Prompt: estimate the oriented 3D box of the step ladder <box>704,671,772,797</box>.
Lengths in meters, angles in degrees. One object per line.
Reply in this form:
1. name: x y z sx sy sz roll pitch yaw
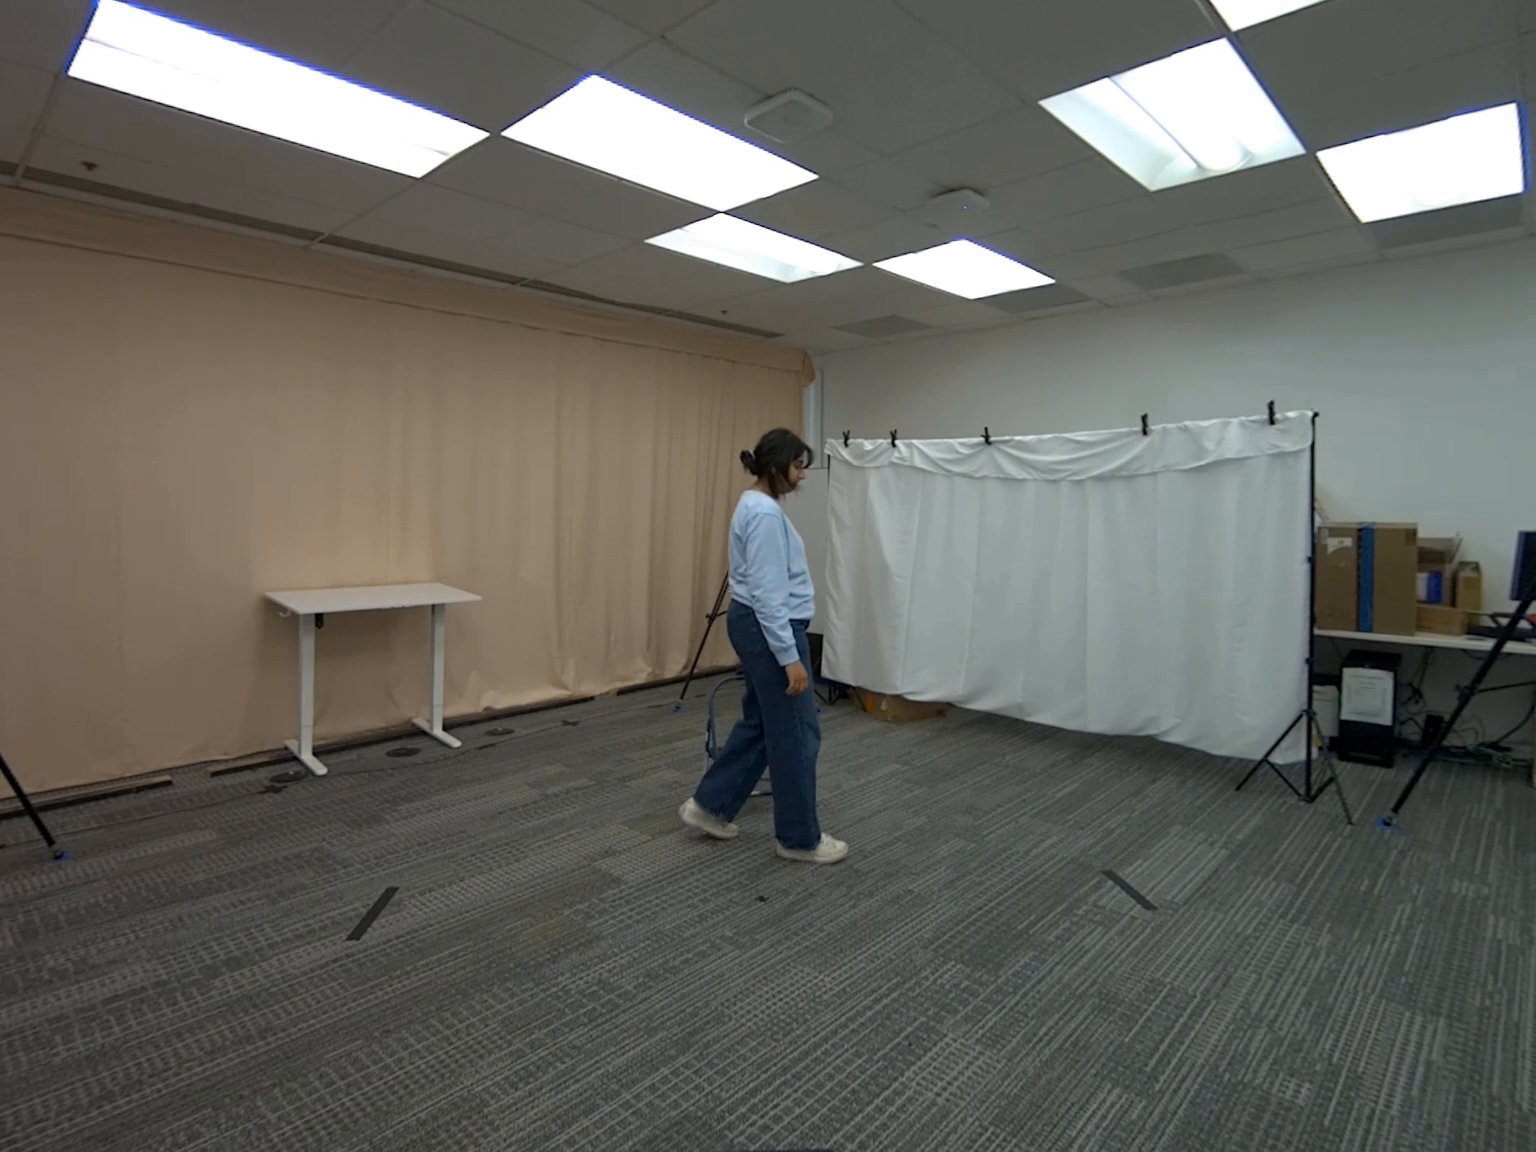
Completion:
1. step ladder: -0.064 0.772 3.868 0.422 0.605 0.357 -1 3 -21
